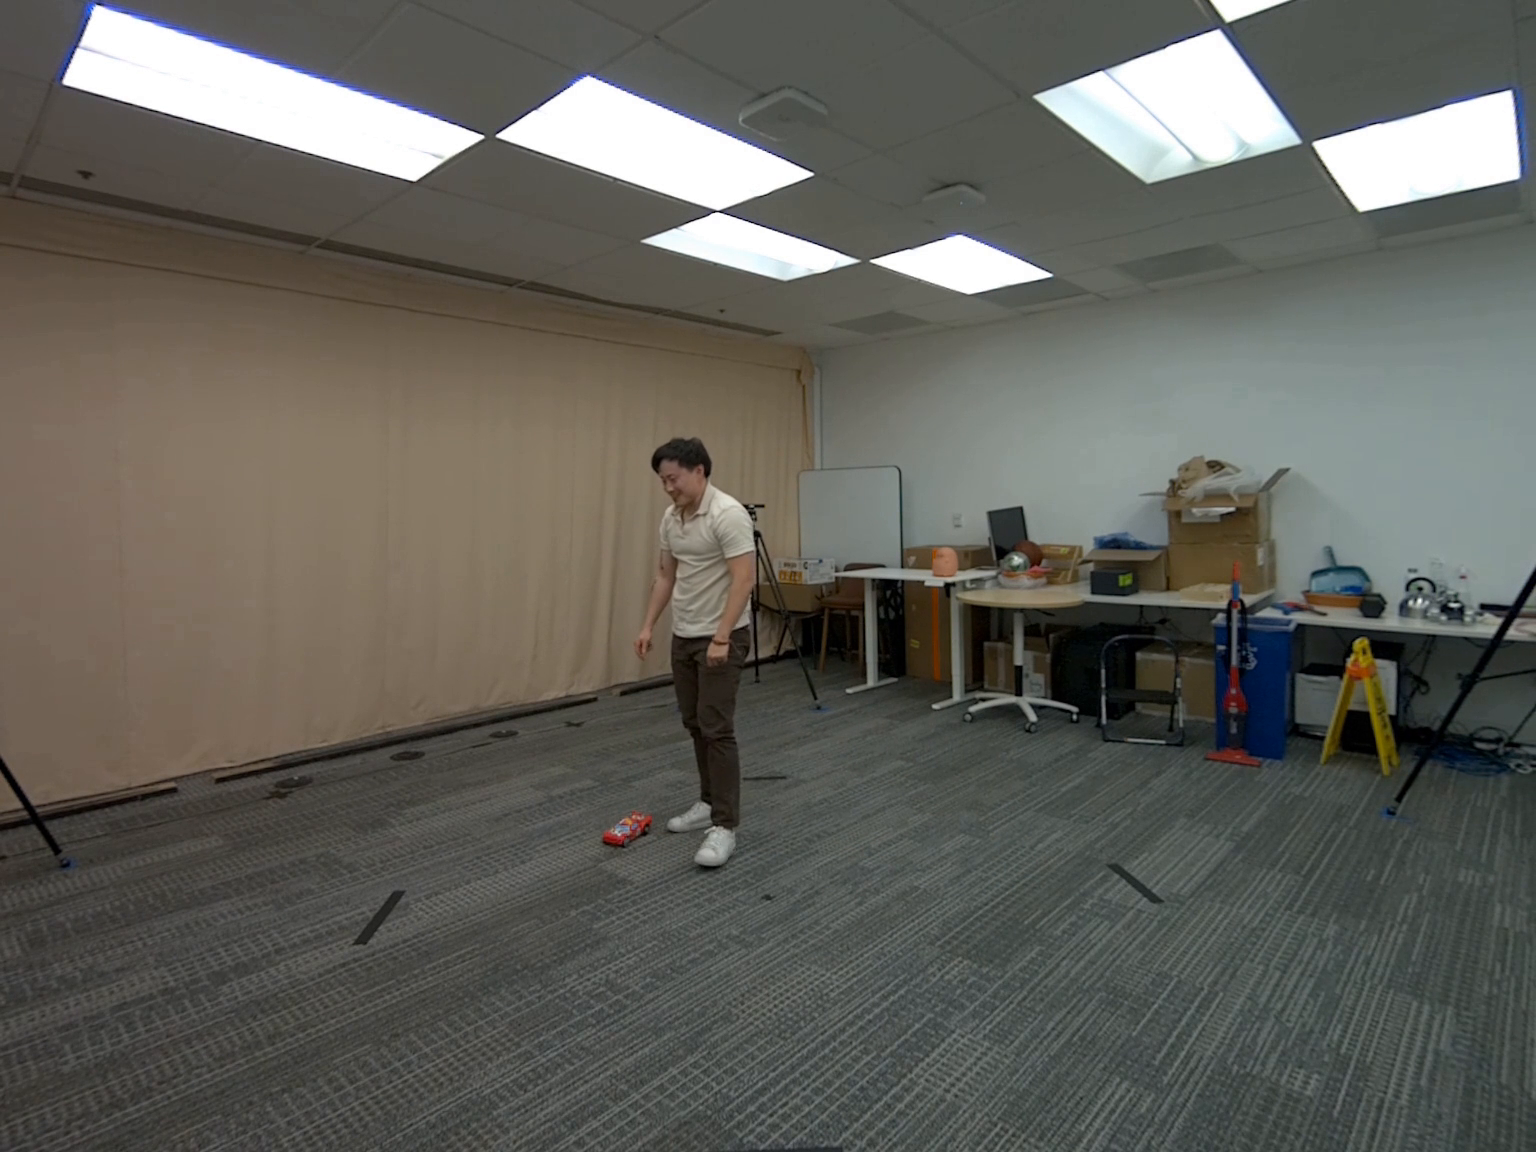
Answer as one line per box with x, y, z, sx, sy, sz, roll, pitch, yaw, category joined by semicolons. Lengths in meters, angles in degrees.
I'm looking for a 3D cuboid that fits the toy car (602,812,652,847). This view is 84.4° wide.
-0.592;1.074;3.563;0.134;0.082;0.250;0;17;28;toy car
